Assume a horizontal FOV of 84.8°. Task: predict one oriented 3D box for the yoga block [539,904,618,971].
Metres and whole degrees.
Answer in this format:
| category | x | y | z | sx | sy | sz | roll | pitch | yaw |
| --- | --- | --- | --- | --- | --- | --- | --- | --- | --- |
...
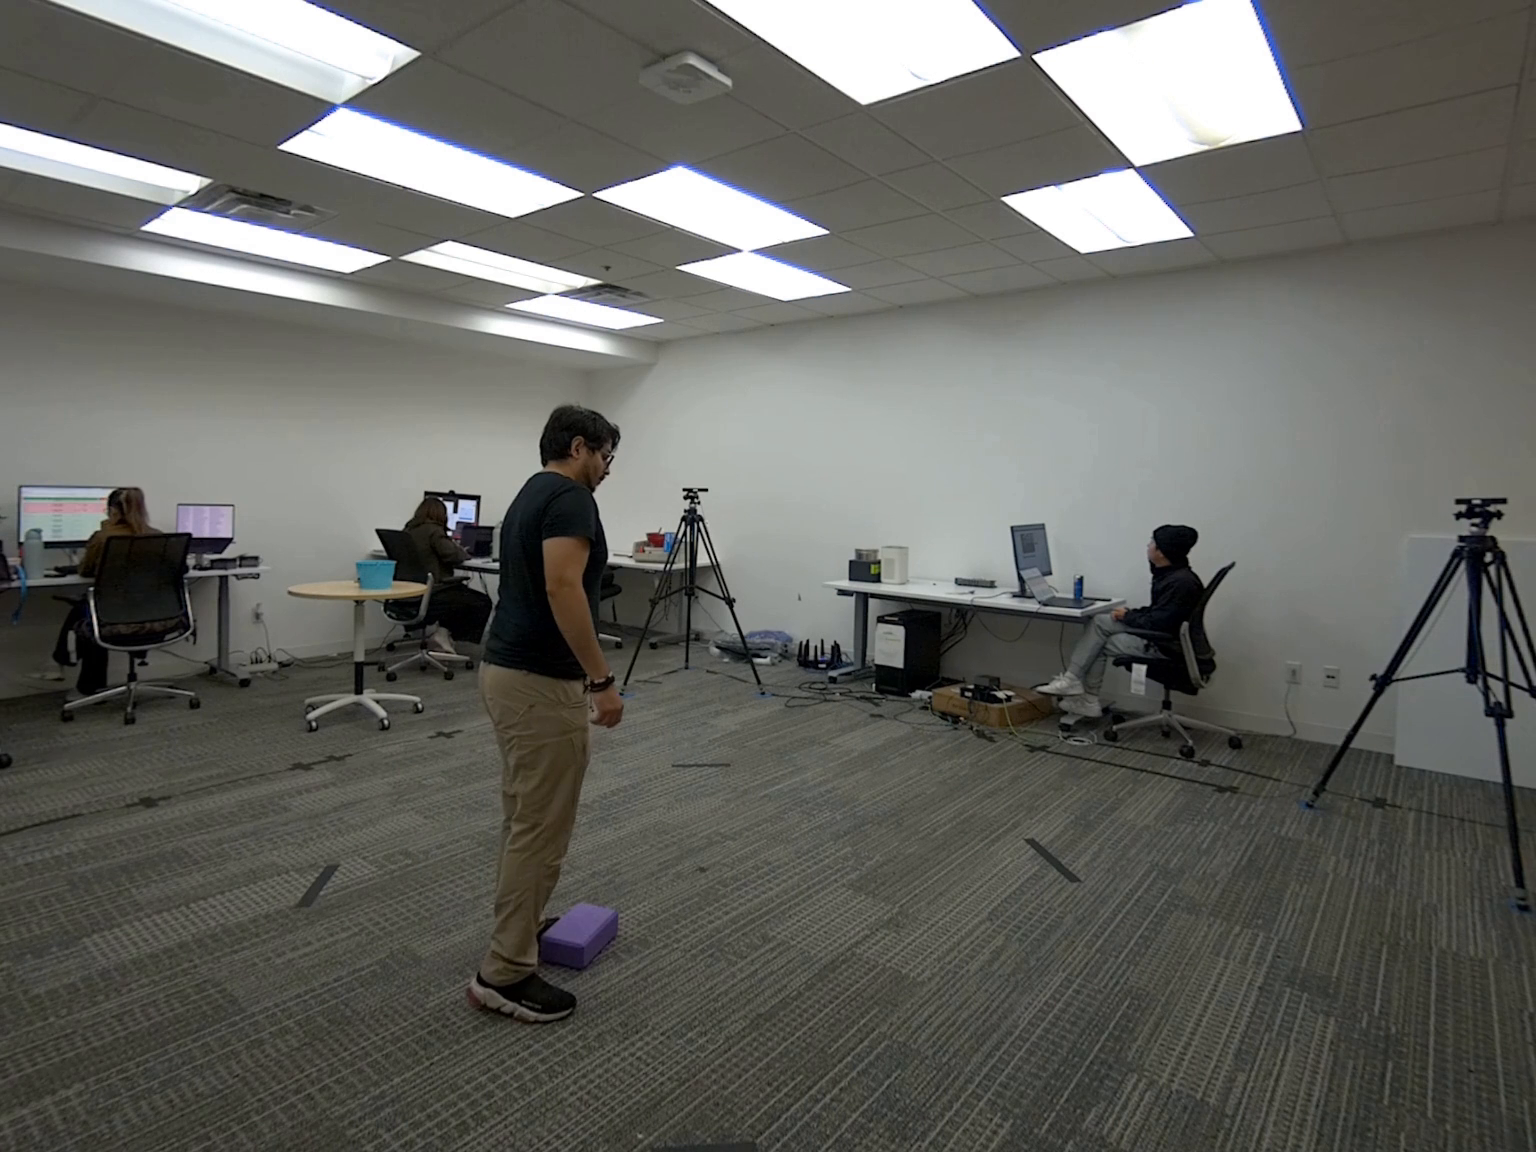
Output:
| category | x | y | z | sx | sy | sz | roll | pitch | yaw |
| --- | --- | --- | --- | --- | --- | --- | --- | --- | --- |
| yoga block | -0.572 | 1.079 | 2.560 | 0.152 | 0.076 | 0.225 | 1 | 5 | 18 |
